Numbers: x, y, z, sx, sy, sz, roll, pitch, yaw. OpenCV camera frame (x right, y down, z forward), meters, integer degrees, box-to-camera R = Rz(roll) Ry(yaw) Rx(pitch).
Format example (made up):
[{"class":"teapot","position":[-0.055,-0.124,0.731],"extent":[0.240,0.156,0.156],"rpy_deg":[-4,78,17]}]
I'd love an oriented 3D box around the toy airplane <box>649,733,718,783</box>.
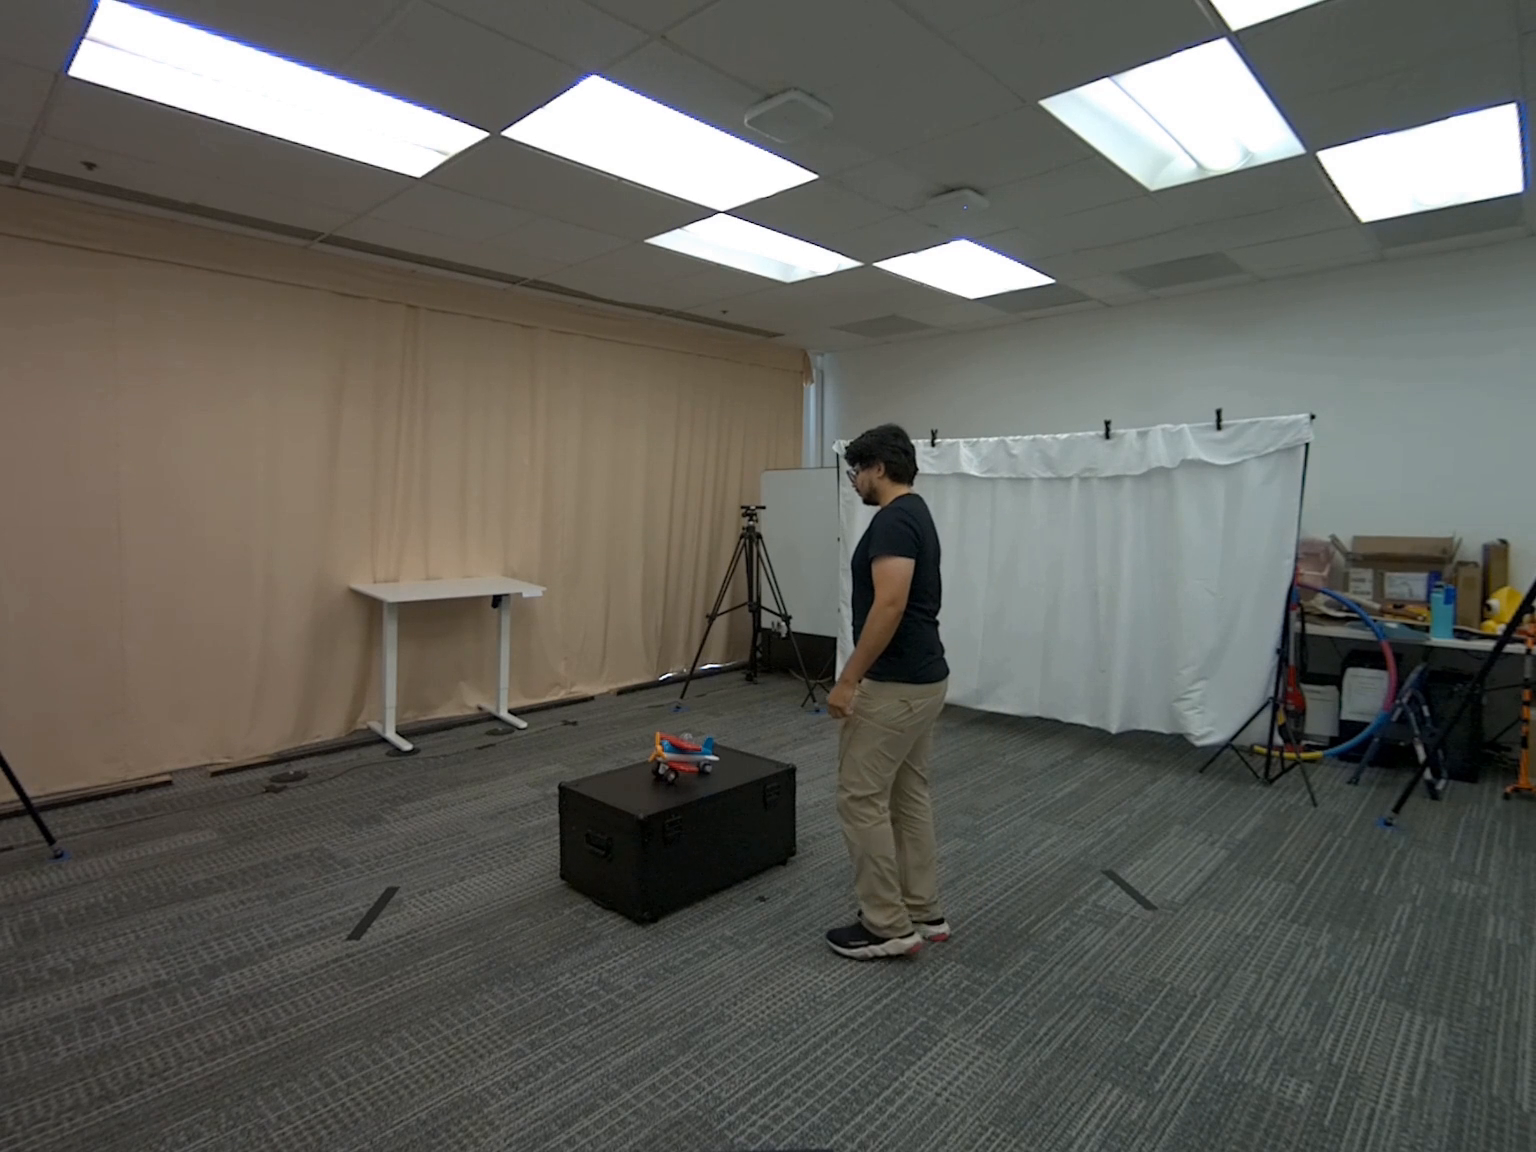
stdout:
[{"class":"toy airplane","position":[-0.327,0.676,3.190],"extent":[0.257,0.156,0.253],"rpy_deg":[1,6,24]}]
